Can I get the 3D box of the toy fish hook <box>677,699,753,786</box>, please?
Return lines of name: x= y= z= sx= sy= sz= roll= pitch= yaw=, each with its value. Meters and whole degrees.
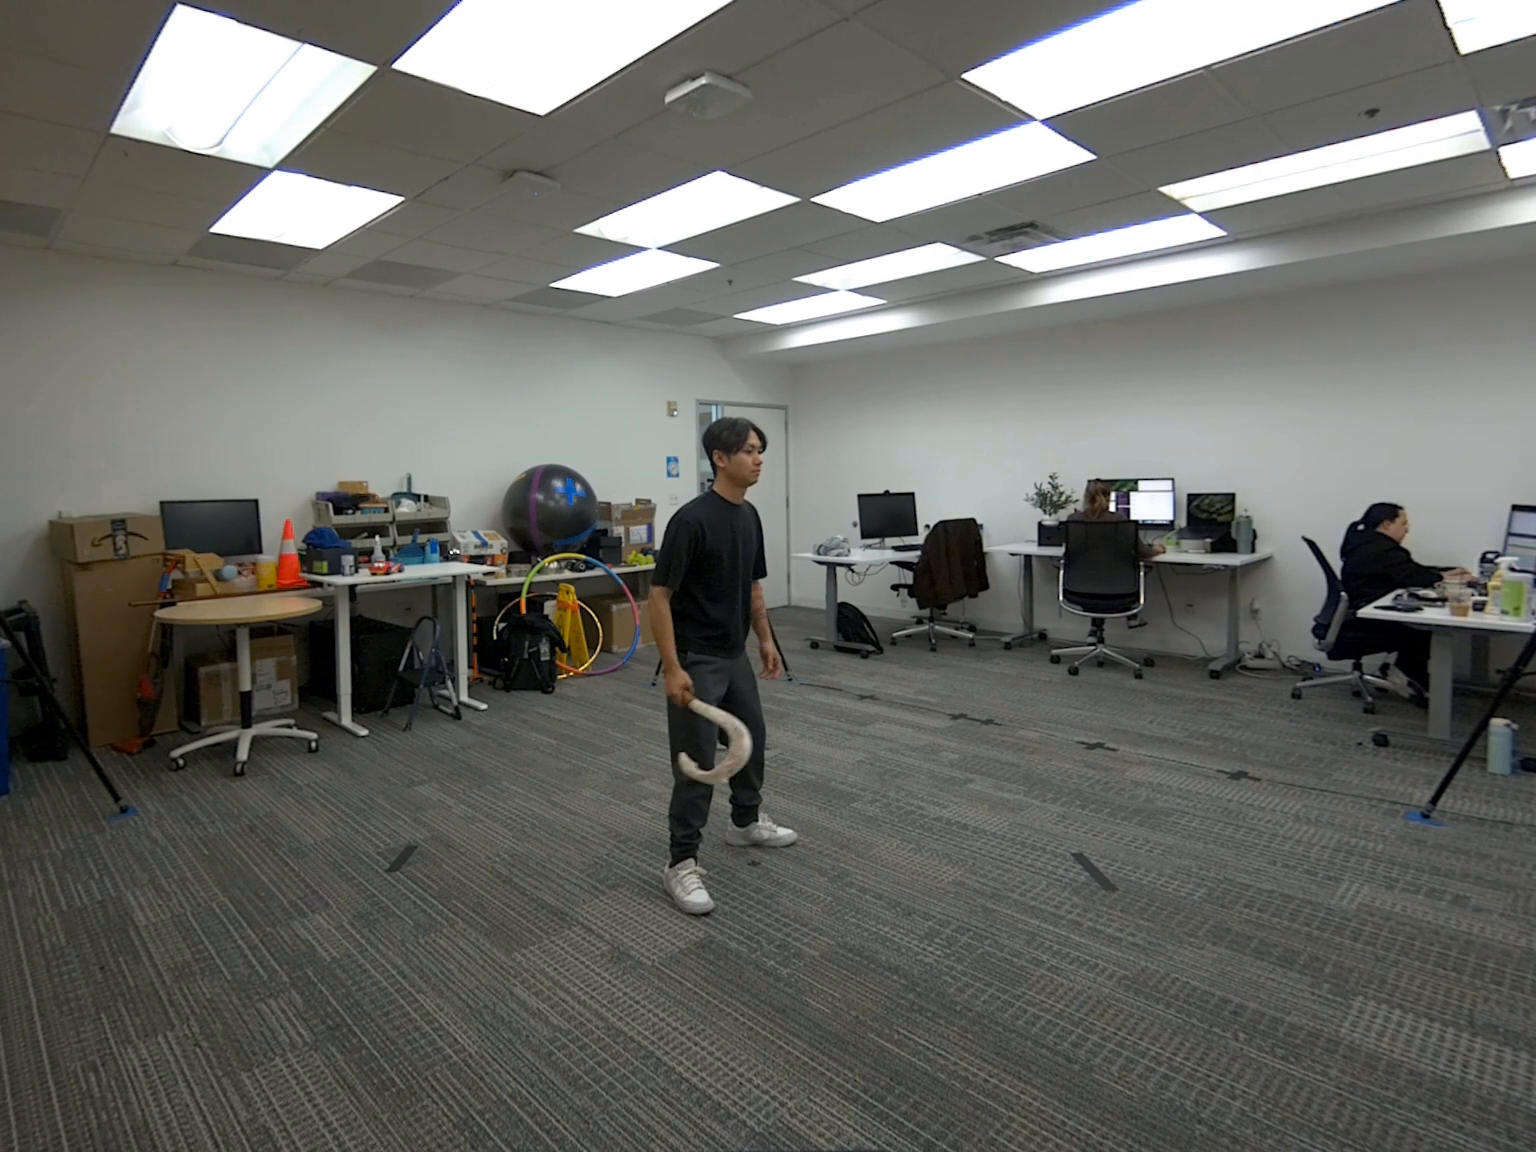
toy fish hook: x=-0.232 y=0.447 z=2.722 sx=0.224 sy=0.046 sz=0.527 roll=-41 pitch=42 yaw=-12
